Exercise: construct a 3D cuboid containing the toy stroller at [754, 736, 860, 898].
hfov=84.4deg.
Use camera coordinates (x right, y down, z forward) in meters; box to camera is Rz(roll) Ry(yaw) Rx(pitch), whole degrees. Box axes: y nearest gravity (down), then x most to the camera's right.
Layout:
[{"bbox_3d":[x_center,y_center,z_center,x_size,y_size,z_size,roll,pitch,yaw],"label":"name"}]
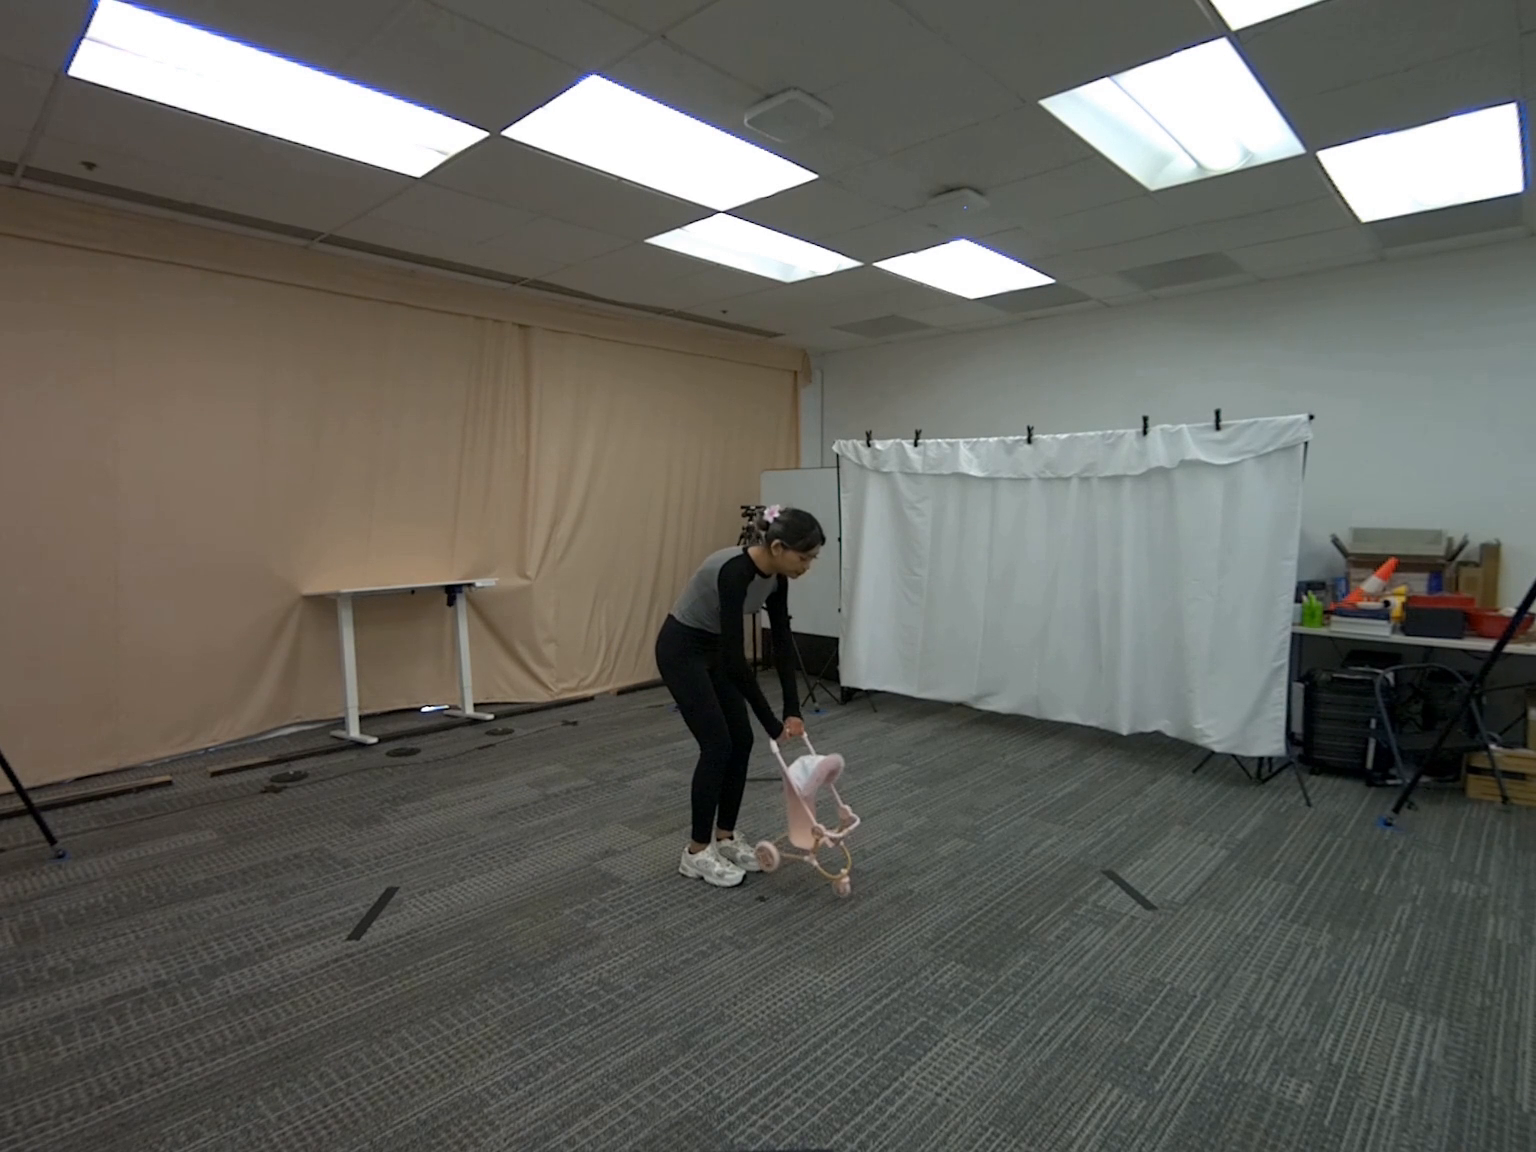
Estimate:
[{"bbox_3d":[0.169,0.840,3.001,0.353,0.532,0.273,12,11,39],"label":"toy stroller"}]
